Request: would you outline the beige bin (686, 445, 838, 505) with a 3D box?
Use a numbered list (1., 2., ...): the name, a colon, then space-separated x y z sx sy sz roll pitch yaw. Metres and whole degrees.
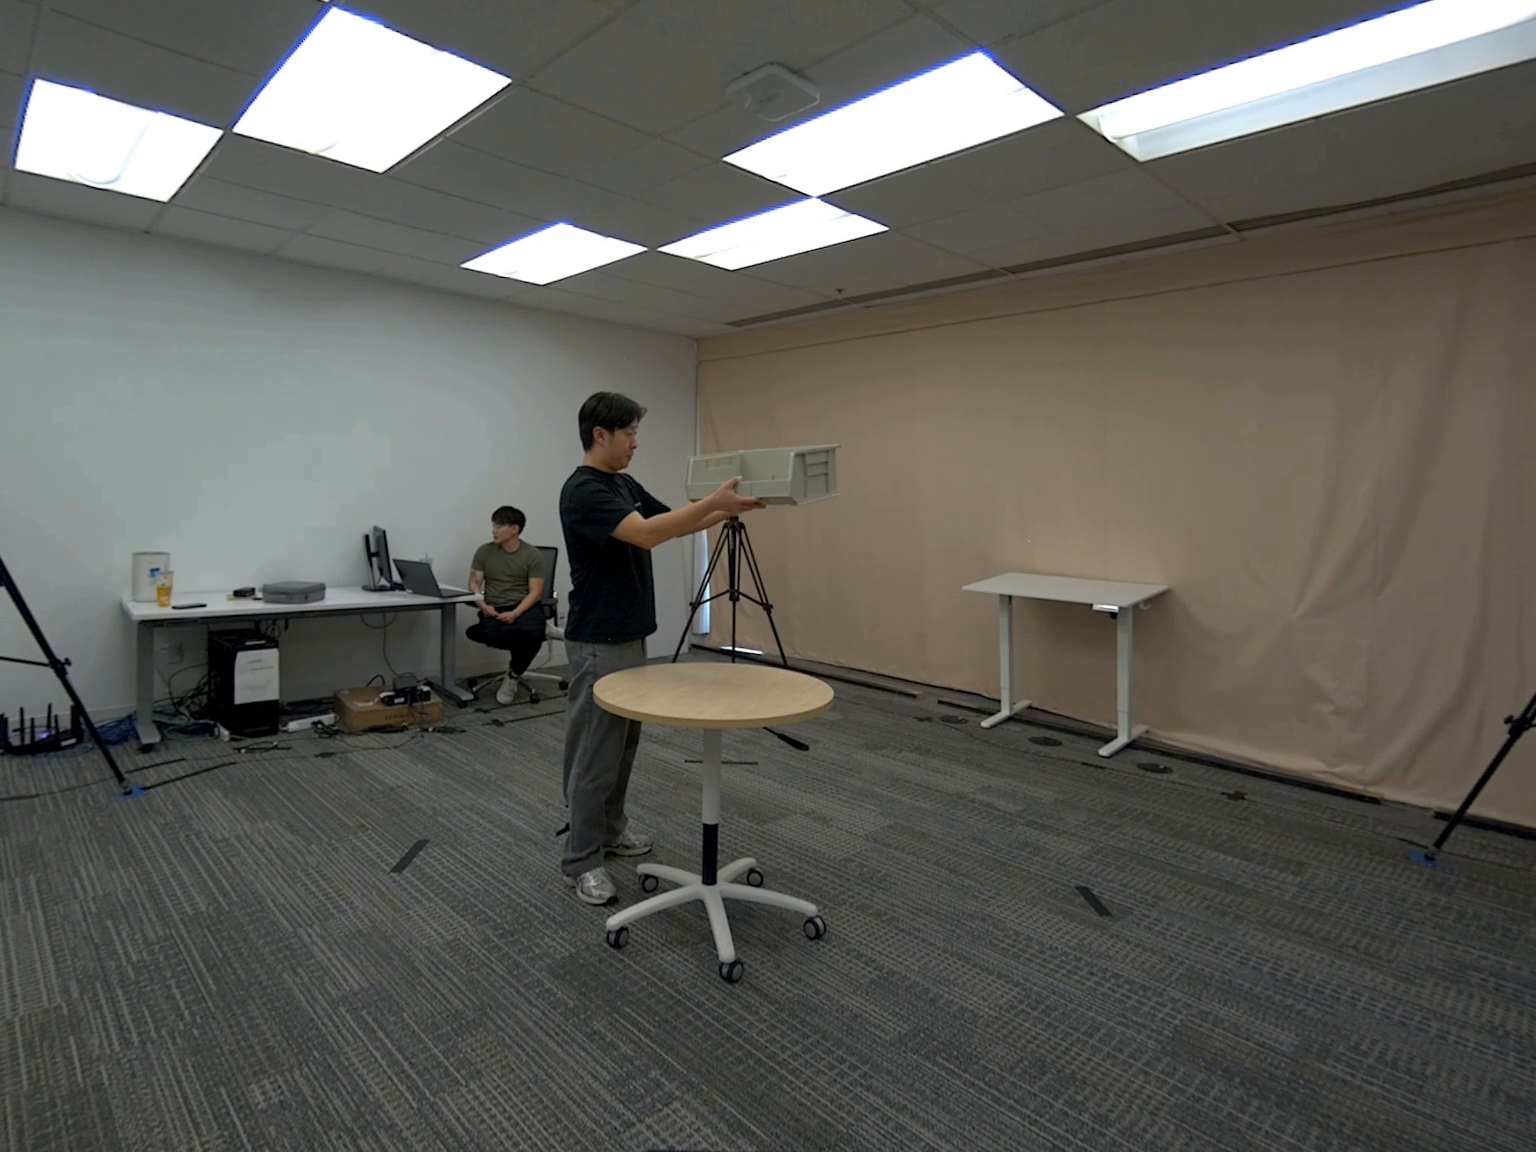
1. beige bin: -0.019 -0.334 2.920 0.431 0.188 0.372 0 9 30
